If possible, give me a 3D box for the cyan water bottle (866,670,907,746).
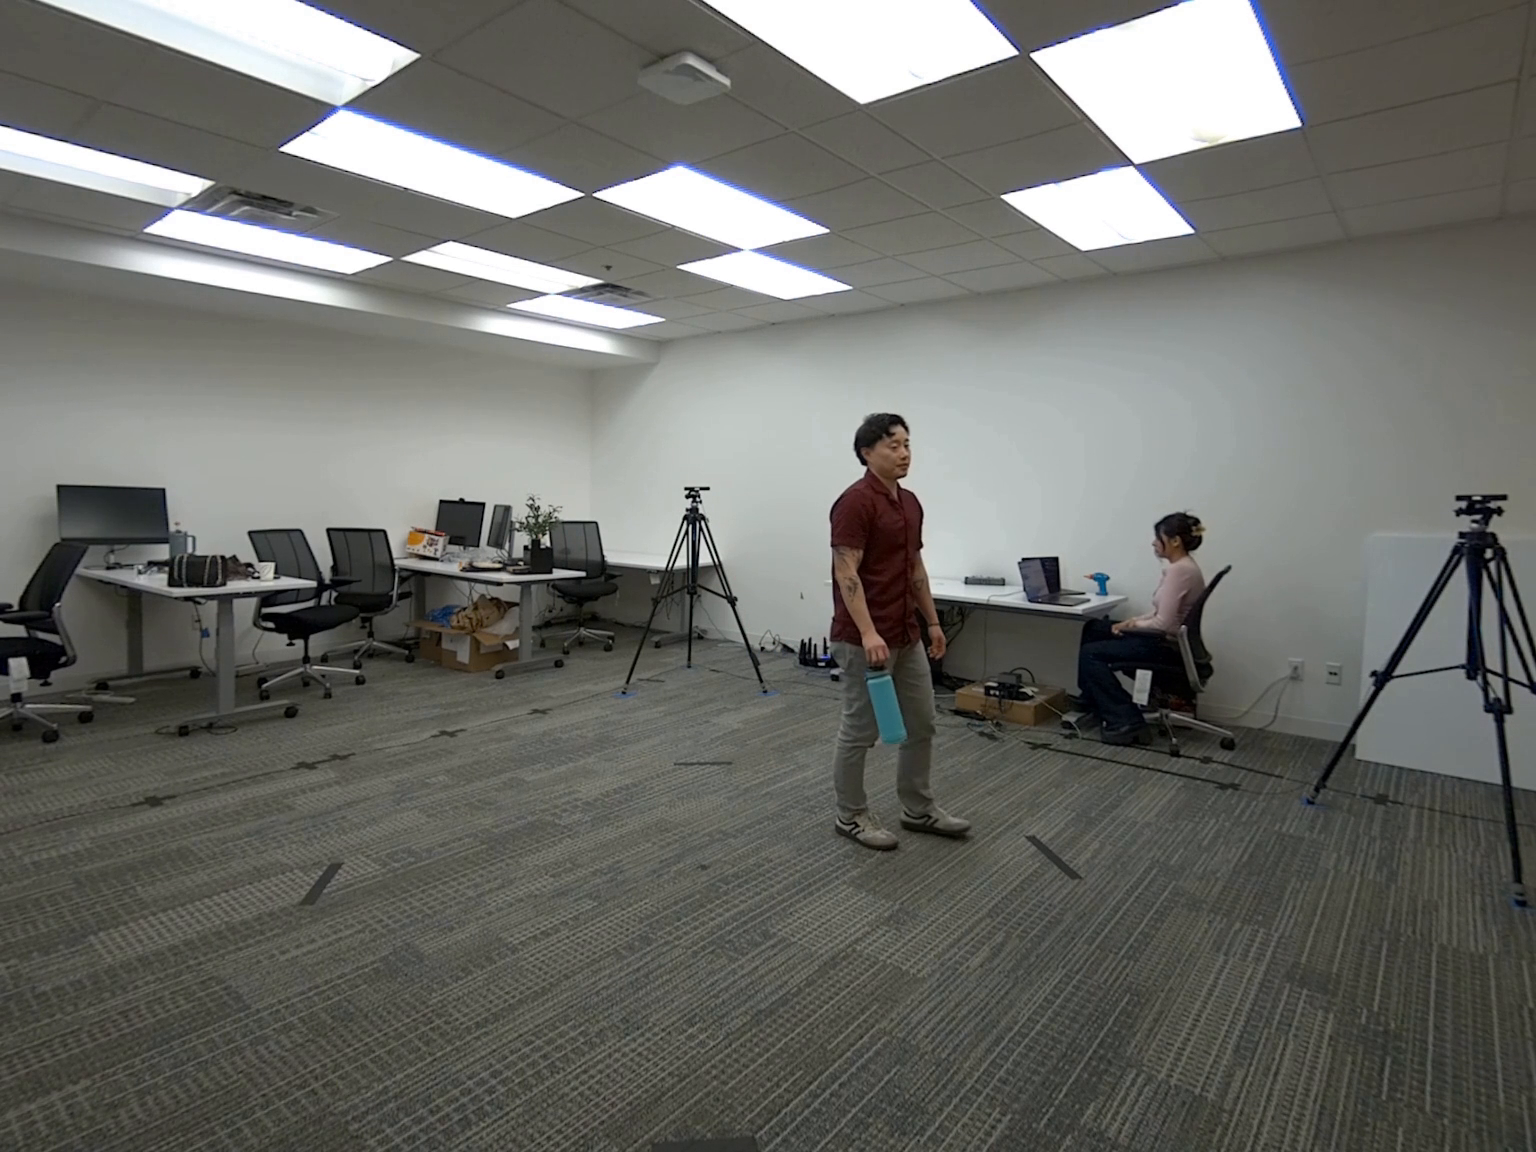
[{"bbox_3d":[0.402,0.438,3.019,0.092,0.285,0.092,-14,-4,-3],"label":"cyan water bottle"}]
